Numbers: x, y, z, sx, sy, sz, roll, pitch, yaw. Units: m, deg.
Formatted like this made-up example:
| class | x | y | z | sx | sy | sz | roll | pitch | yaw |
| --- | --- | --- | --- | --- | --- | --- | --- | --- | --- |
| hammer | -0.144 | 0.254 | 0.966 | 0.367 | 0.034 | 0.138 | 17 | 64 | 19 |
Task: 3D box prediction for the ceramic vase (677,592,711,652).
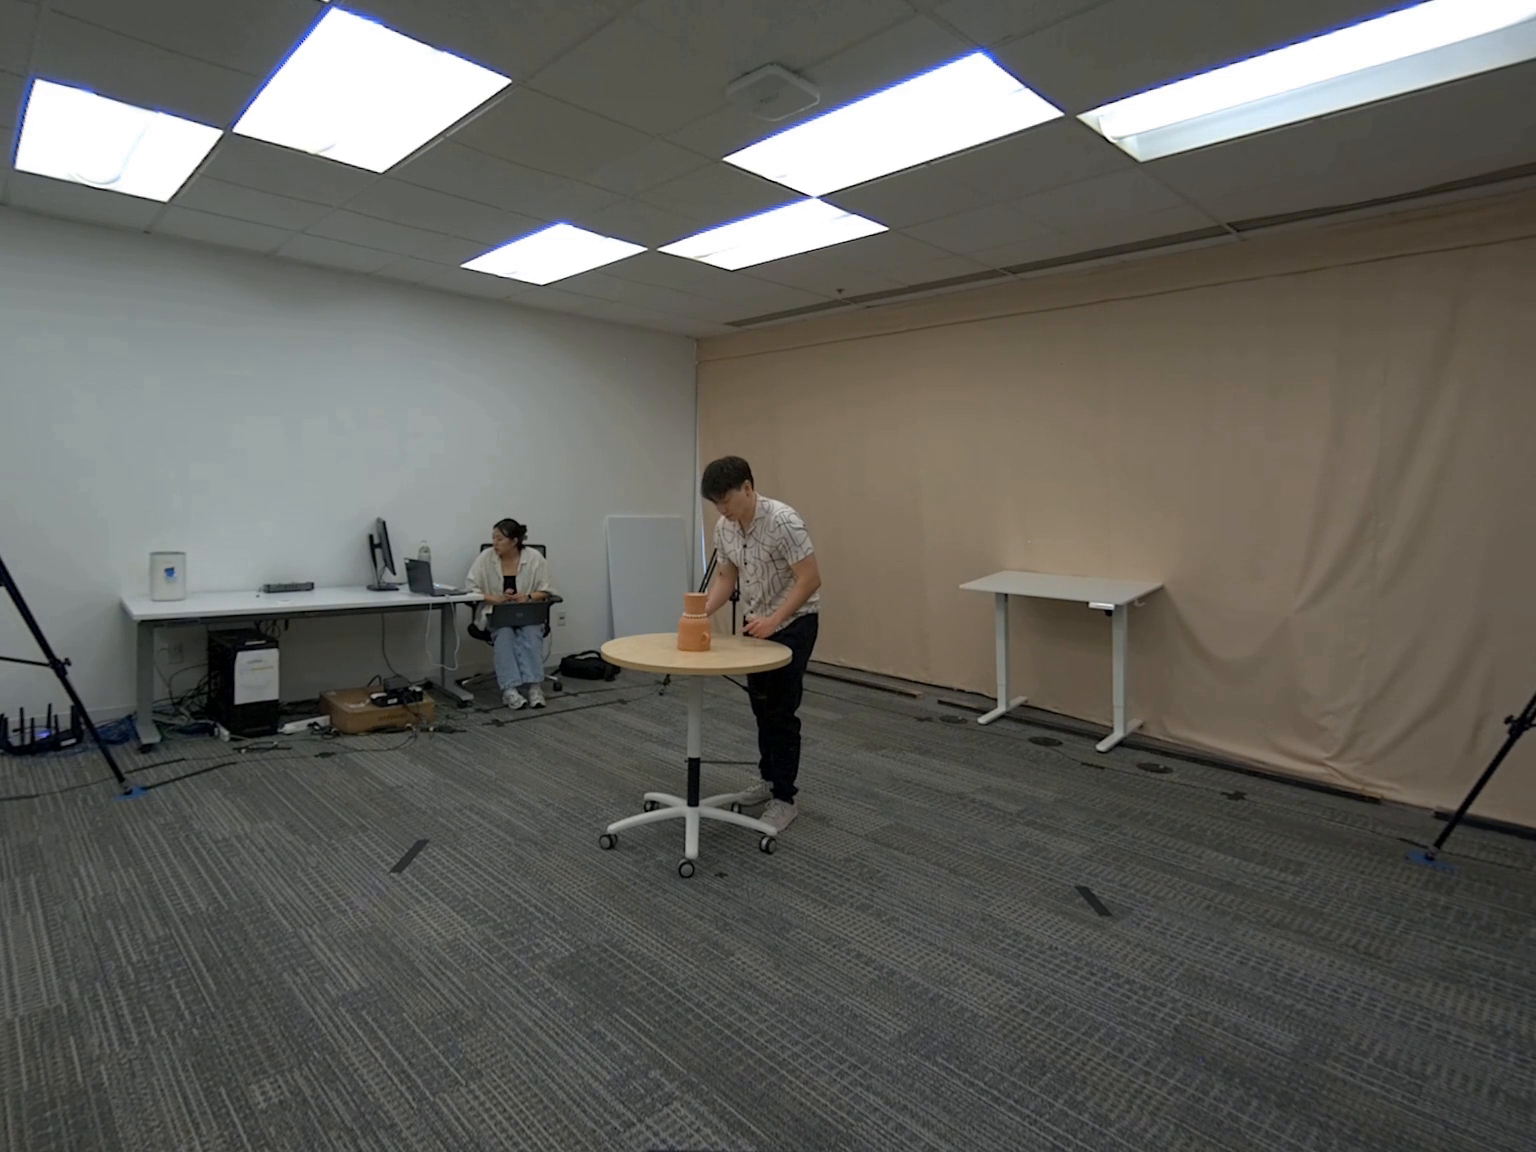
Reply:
| class | x | y | z | sx | sy | sz | roll | pitch | yaw |
| --- | --- | --- | --- | --- | --- | --- | --- | --- | --- |
| ceramic vase | -0.298 | 0.183 | 3.367 | 0.160 | 0.219 | 0.134 | 2 | 4 | 10 |
